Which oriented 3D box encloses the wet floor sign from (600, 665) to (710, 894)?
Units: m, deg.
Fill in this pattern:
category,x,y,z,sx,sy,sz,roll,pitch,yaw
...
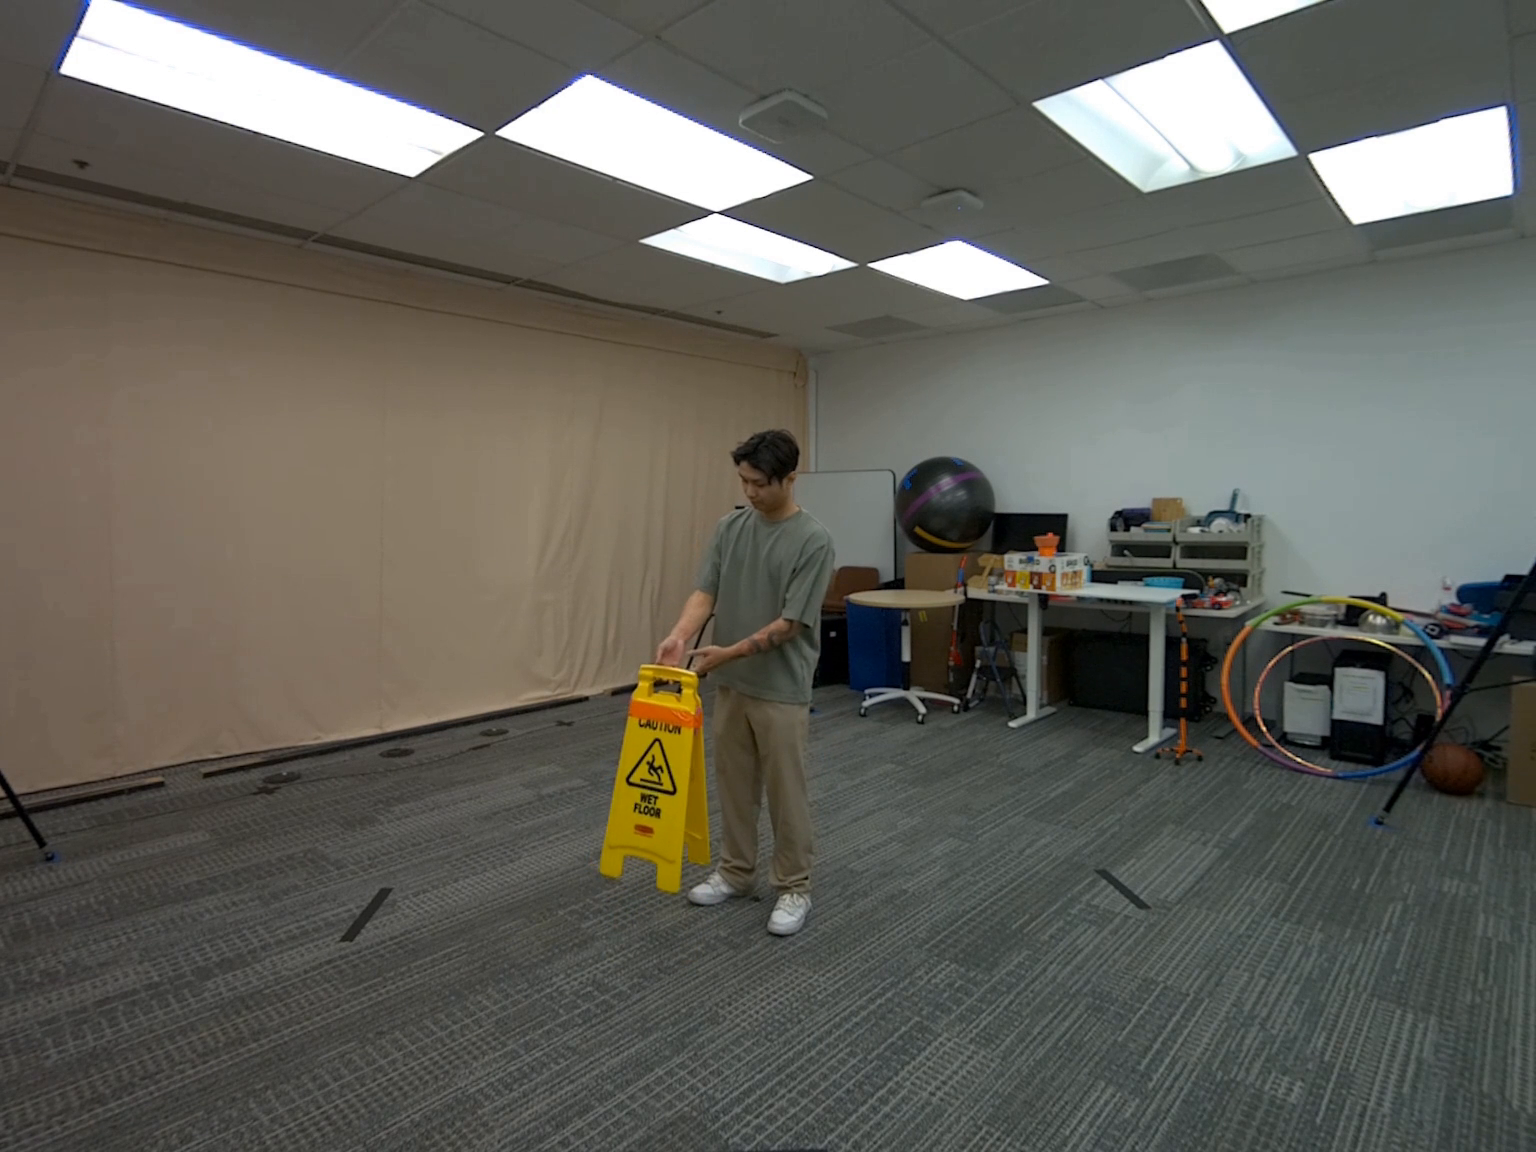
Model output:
category,x,y,z,sx,sy,sz,roll,pitch,yaw
wet floor sign,-0.335,0.618,2.684,0.289,0.645,0.283,4,3,22
